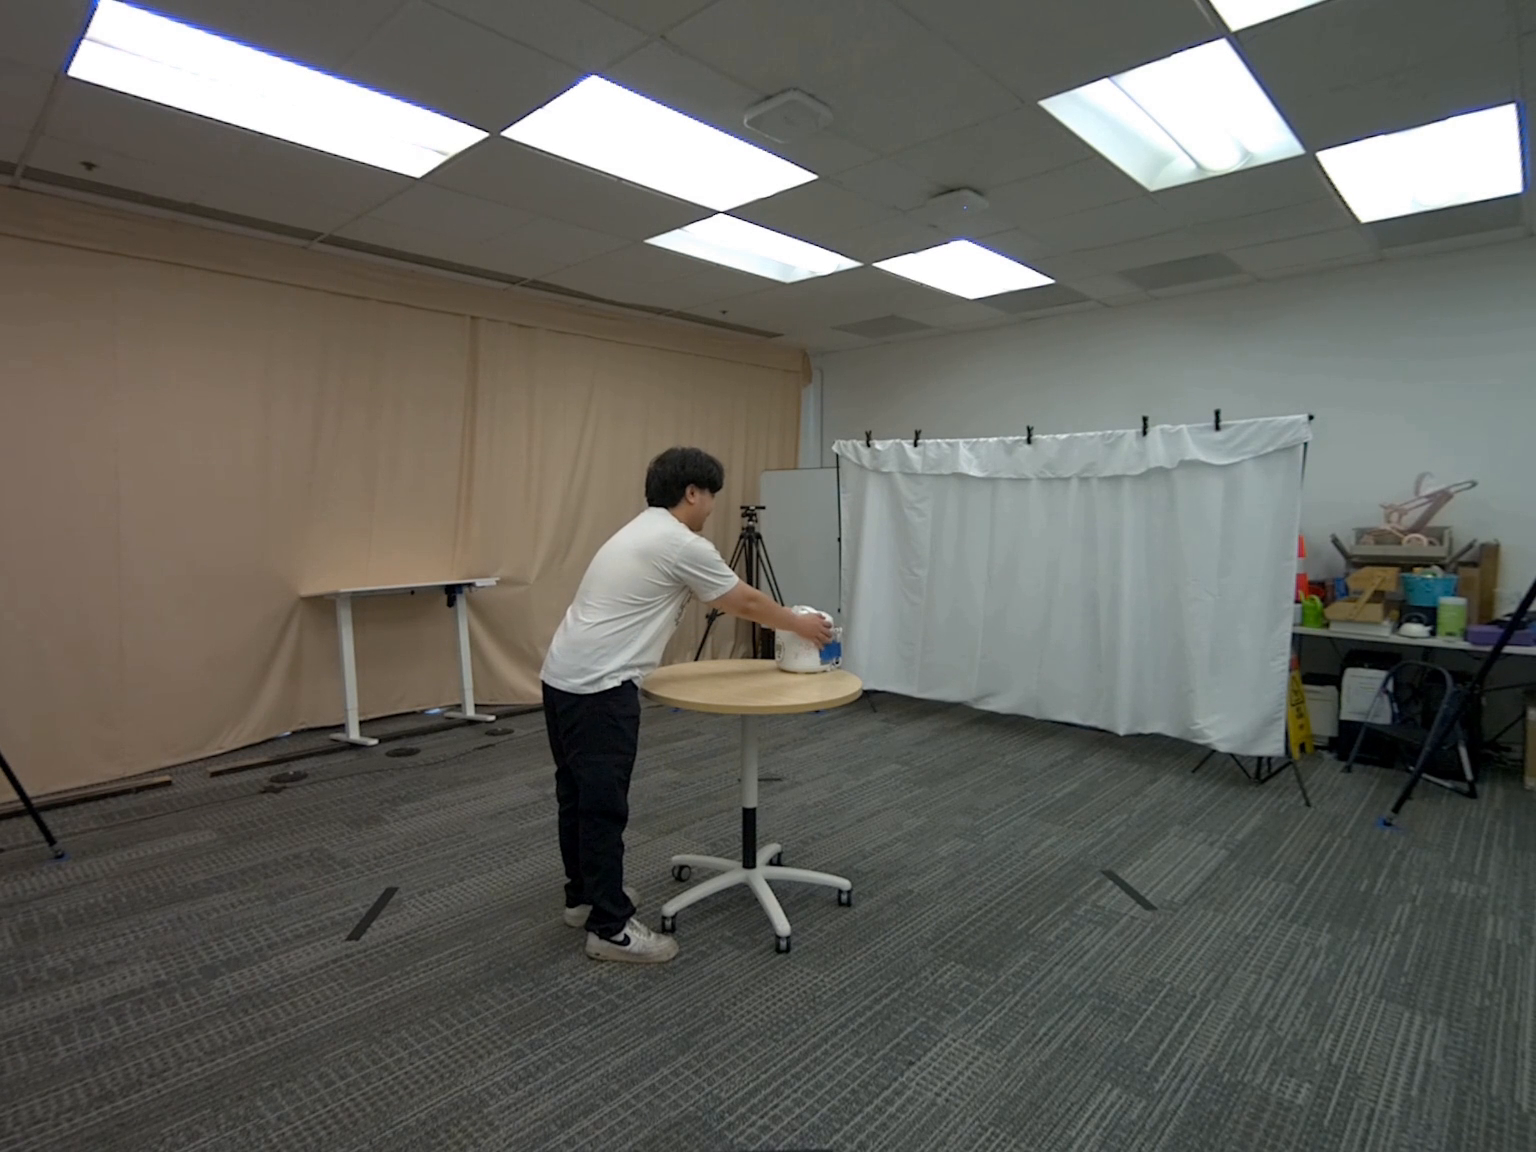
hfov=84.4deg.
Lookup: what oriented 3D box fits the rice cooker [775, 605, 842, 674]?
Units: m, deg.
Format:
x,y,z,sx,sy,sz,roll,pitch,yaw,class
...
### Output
x,y,z,sx,sy,sz,roll,pitch,yaw,class
0.133,0.227,3.061,0.212,0.233,0.227,-1,1,-29,rice cooker
